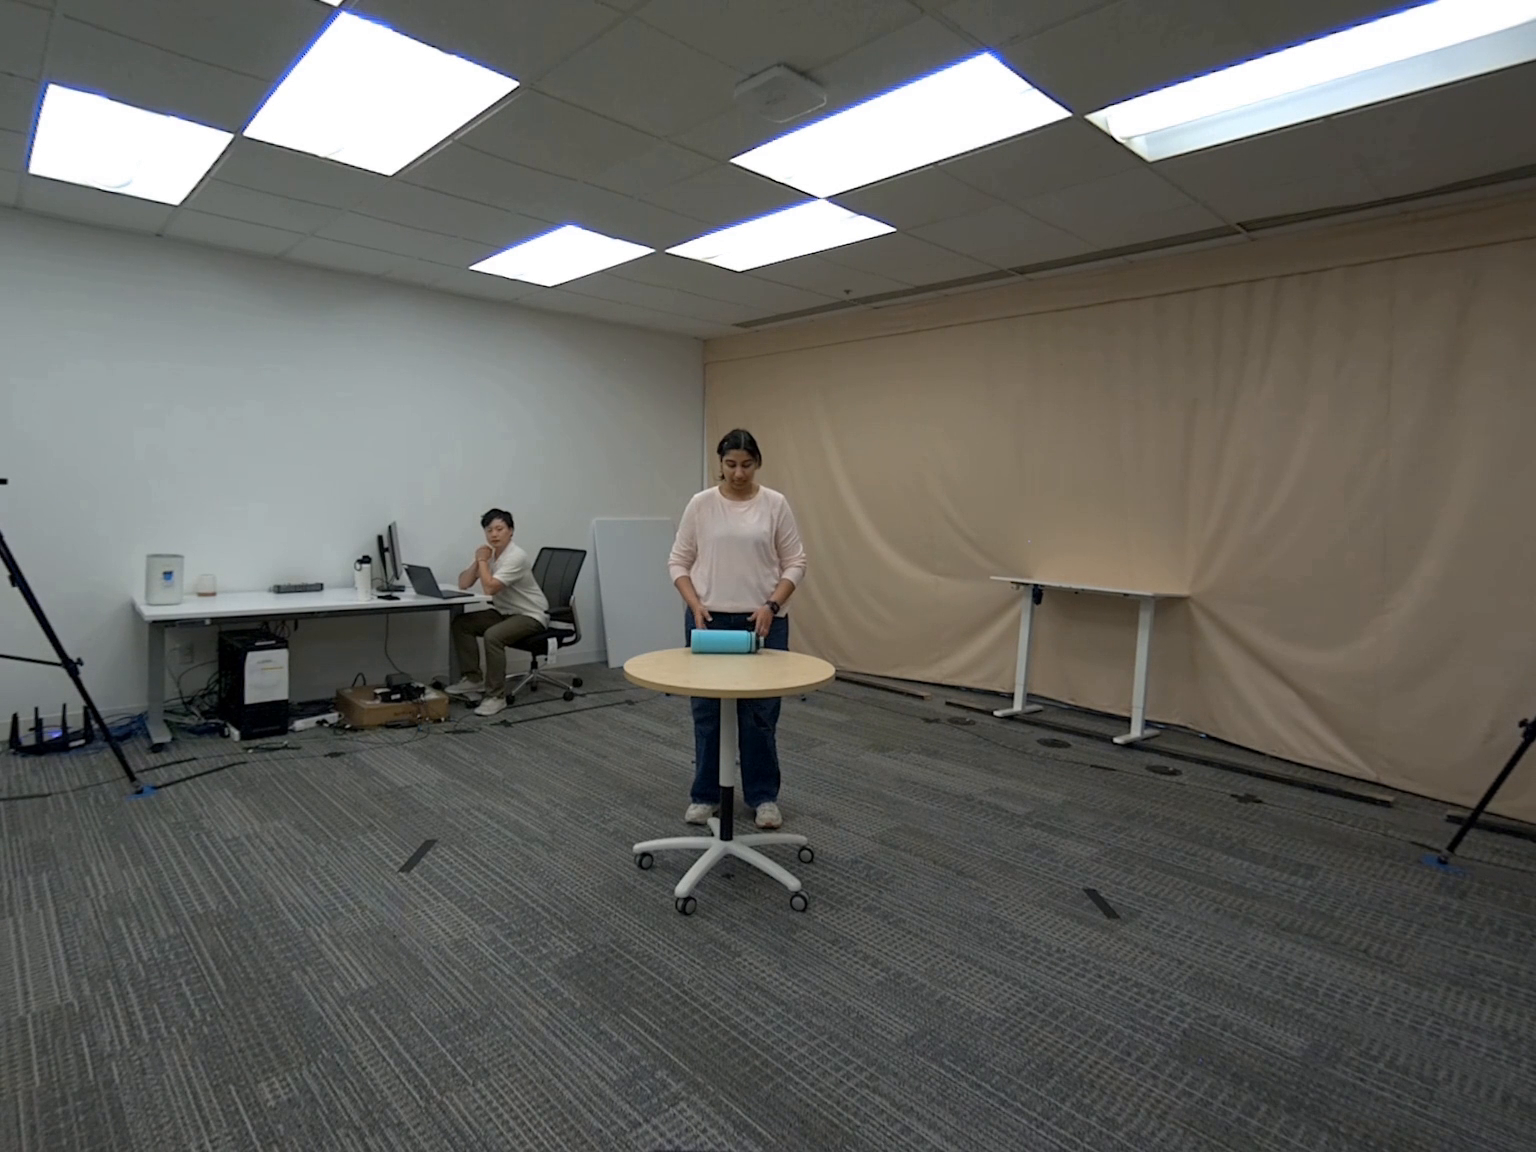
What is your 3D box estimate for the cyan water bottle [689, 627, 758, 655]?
[{"bbox_3d":[-0.170,0.258,3.300,0.282,0.092,0.093,1,4,-4],"label":"cyan water bottle"}]
